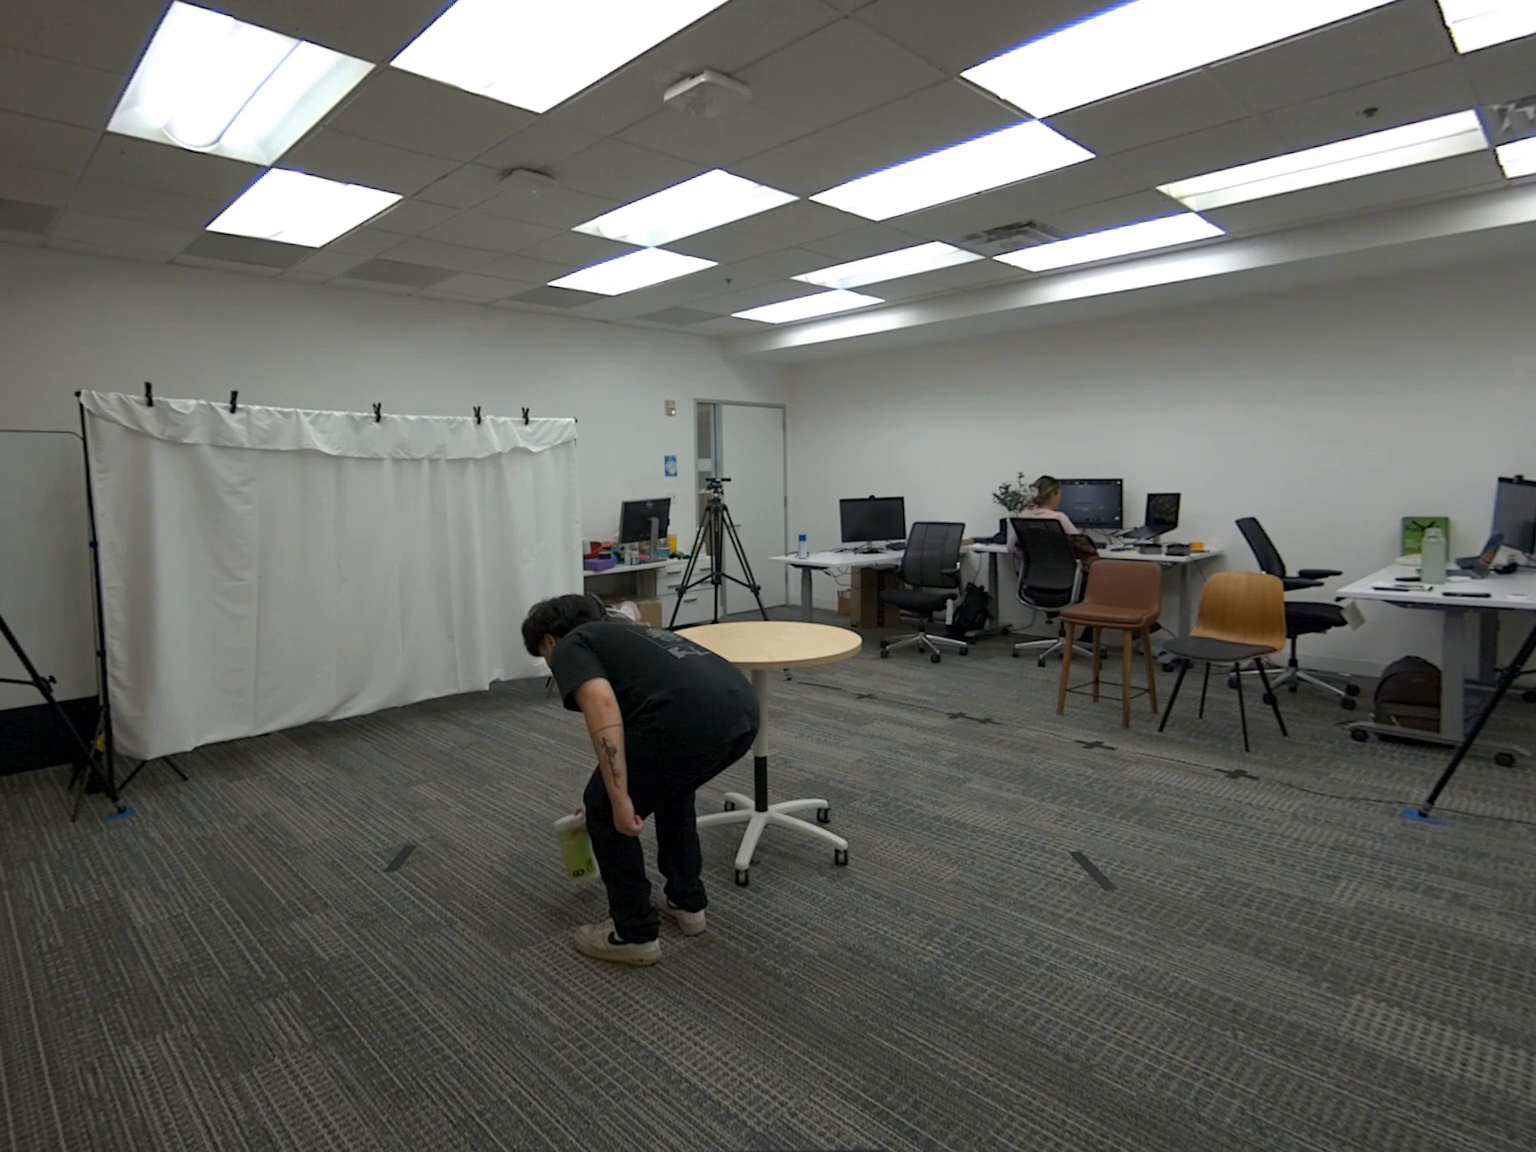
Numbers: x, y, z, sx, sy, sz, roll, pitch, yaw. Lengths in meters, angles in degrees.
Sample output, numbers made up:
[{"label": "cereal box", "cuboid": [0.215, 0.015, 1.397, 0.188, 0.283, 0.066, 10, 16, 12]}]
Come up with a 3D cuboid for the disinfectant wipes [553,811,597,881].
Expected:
[{"label": "disinfectant wipes", "cuboid": [-0.655, 0.928, 2.910, 0.117, 0.218, 0.117, -14, -3, -2]}]
